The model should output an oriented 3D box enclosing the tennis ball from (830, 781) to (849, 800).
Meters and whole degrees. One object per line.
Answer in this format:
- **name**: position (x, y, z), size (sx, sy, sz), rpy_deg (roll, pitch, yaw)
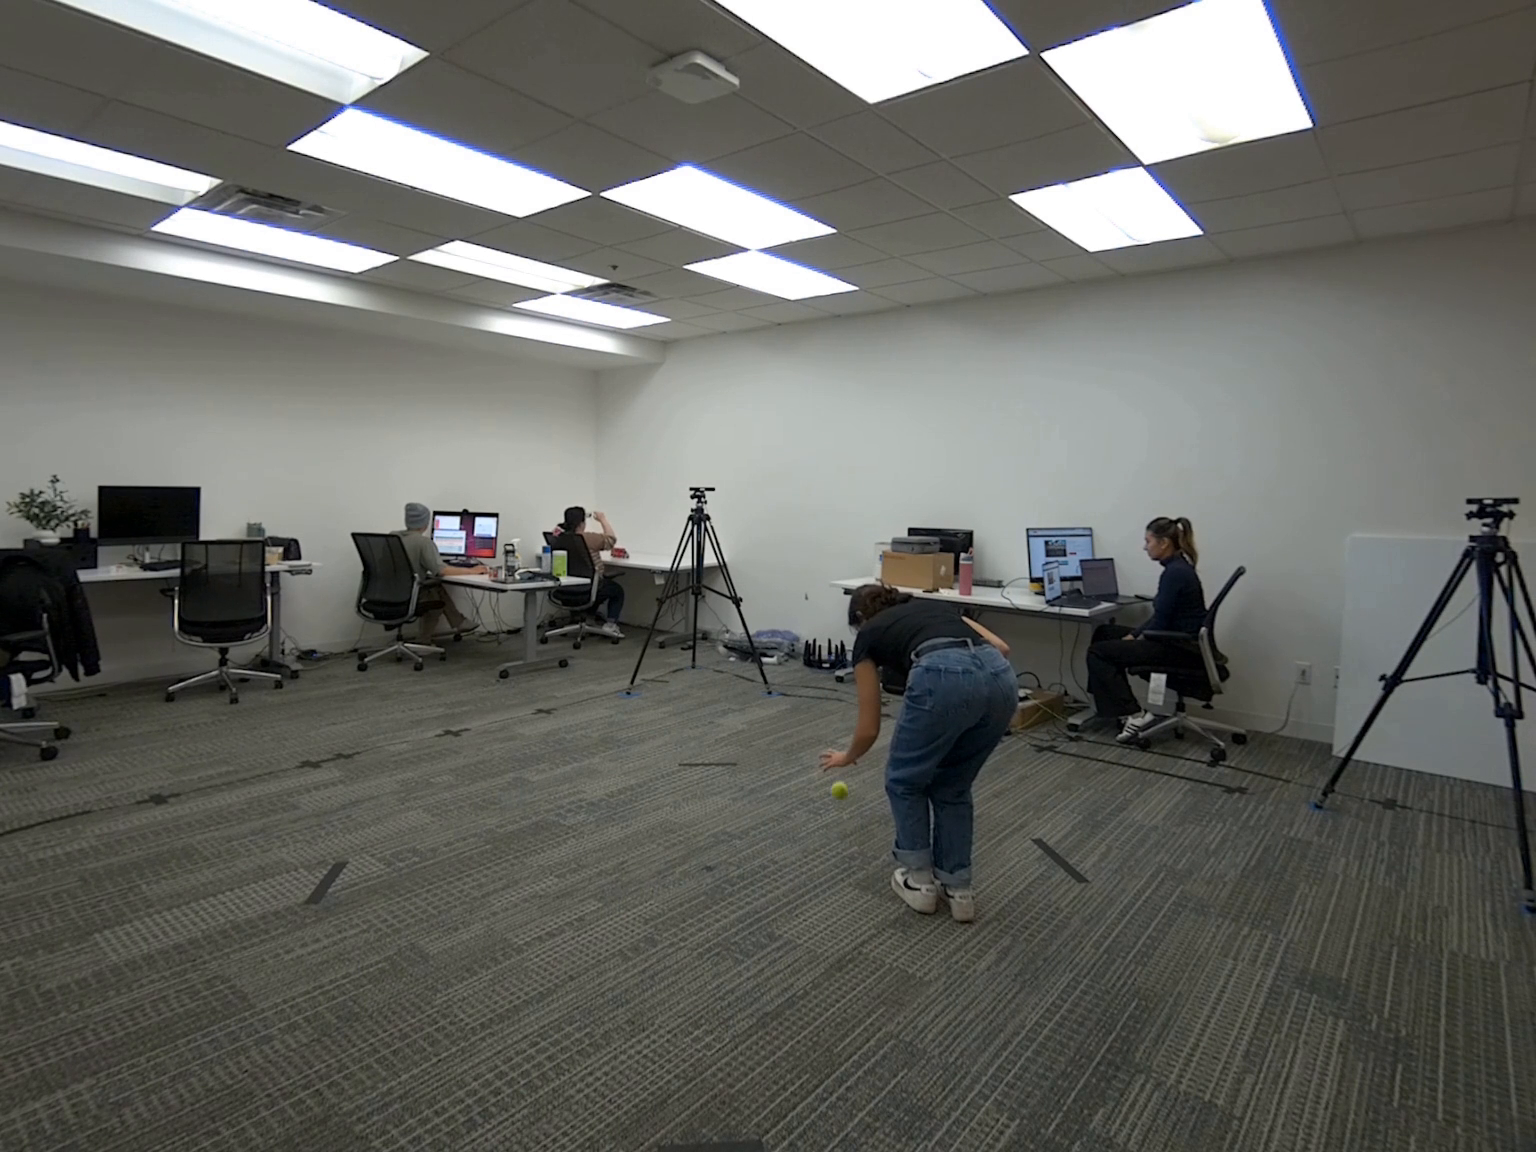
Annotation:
- **tennis ball**: position (0.266, 0.811, 3.286), size (0.066, 0.066, 0.067), rpy_deg (1, 4, -2)
